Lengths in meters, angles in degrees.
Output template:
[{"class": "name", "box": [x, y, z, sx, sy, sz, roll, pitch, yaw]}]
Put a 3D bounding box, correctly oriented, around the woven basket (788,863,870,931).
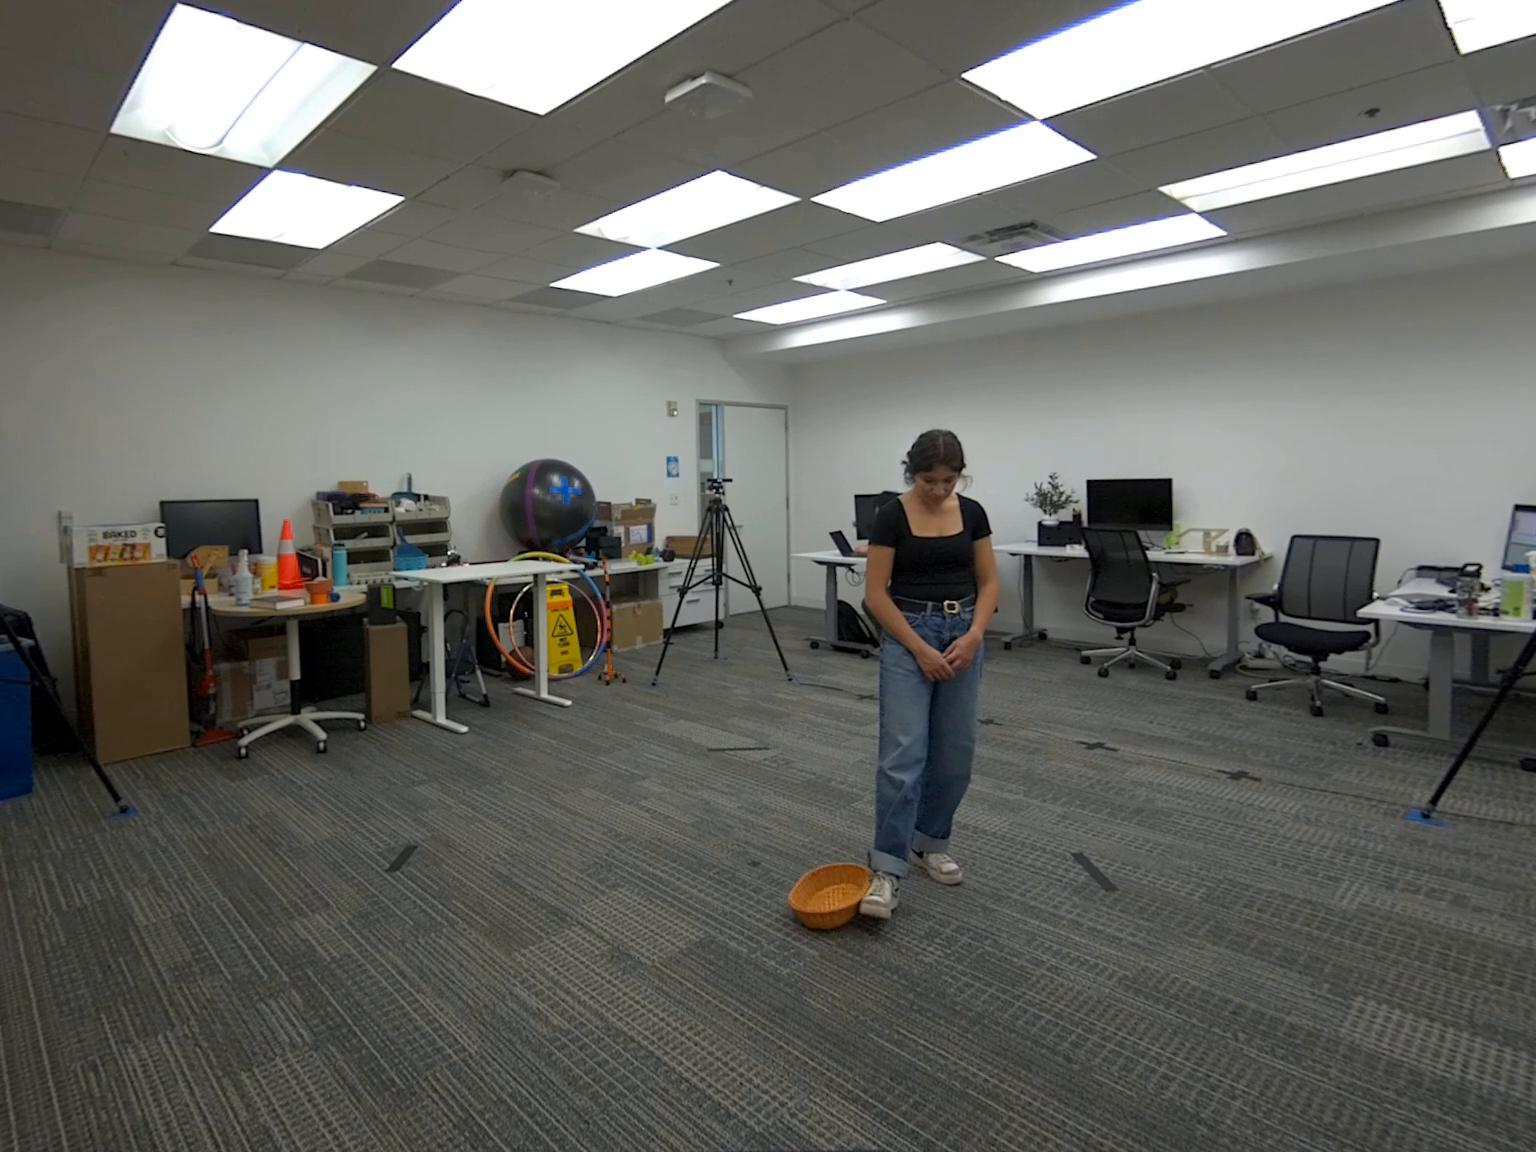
[{"class": "woven basket", "box": [0.206, 1.027, 2.754, 0.257, 0.073, 0.345, -8, 3, 22]}]
